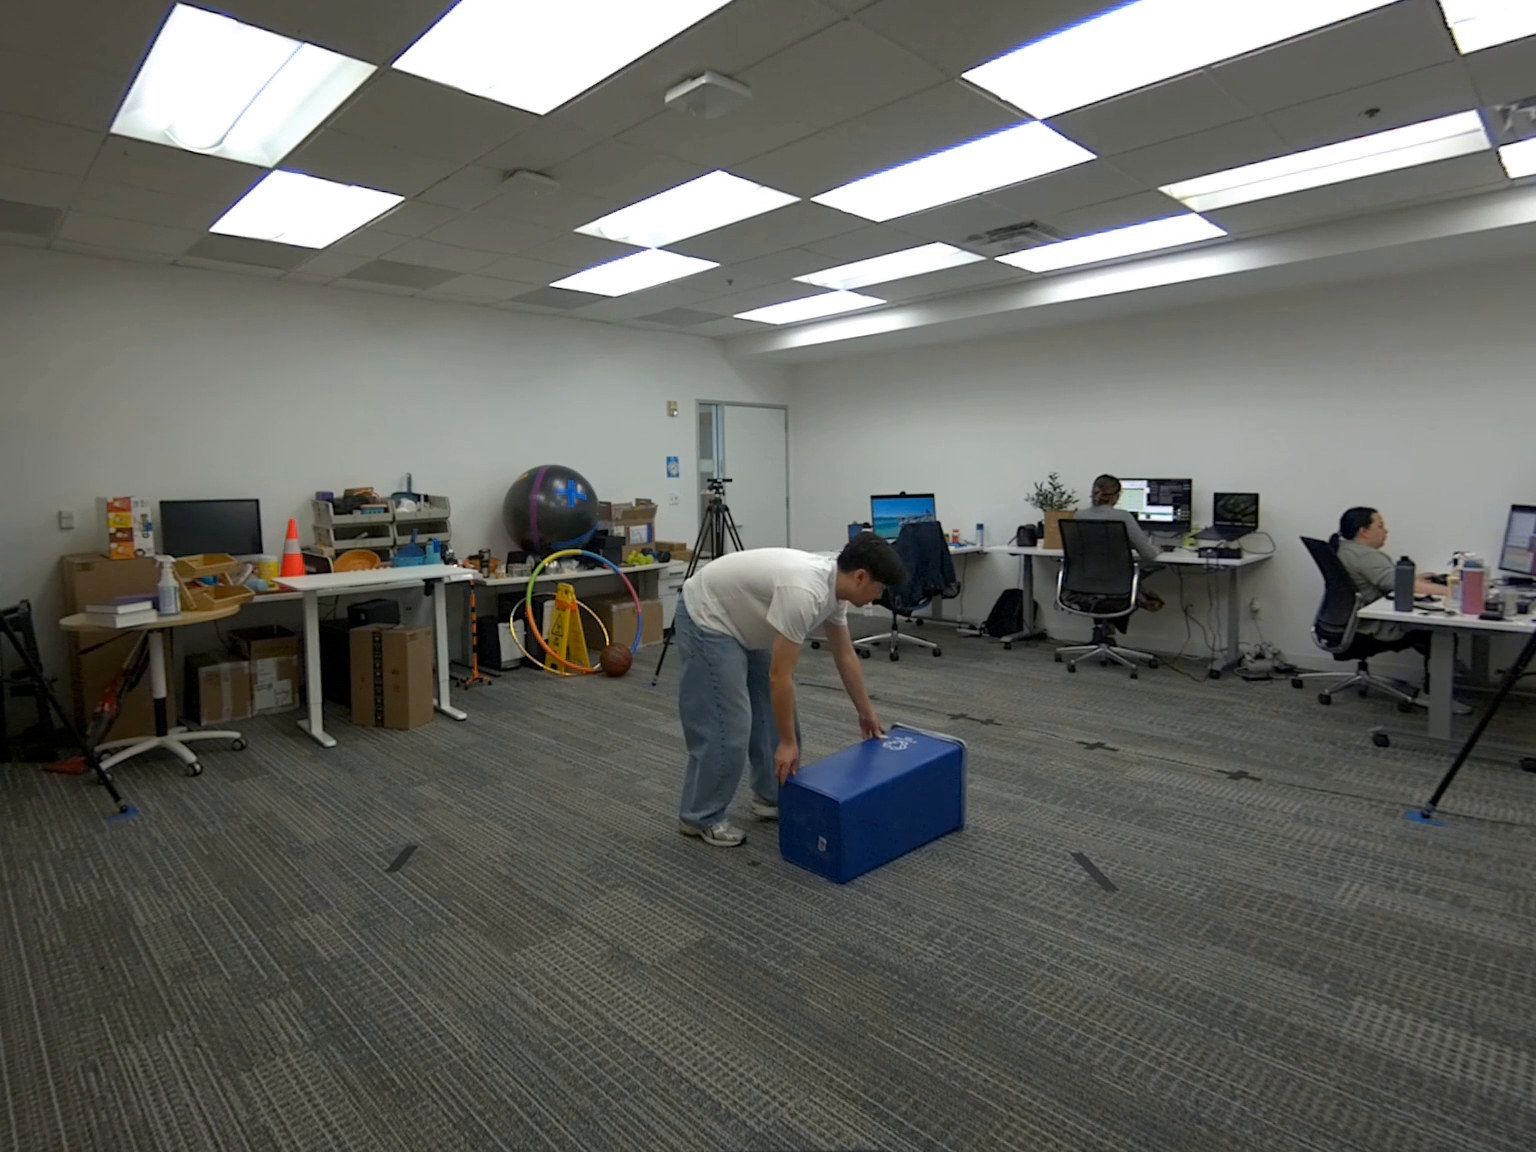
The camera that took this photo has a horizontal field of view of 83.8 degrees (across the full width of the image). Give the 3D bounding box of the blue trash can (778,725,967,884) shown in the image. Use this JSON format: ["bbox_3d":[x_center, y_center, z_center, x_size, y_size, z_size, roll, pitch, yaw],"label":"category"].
[{"bbox_3d":[0.414,0.856,3.232,0.696,0.375,0.386,-10,11,-43],"label":"blue trash can"}]
